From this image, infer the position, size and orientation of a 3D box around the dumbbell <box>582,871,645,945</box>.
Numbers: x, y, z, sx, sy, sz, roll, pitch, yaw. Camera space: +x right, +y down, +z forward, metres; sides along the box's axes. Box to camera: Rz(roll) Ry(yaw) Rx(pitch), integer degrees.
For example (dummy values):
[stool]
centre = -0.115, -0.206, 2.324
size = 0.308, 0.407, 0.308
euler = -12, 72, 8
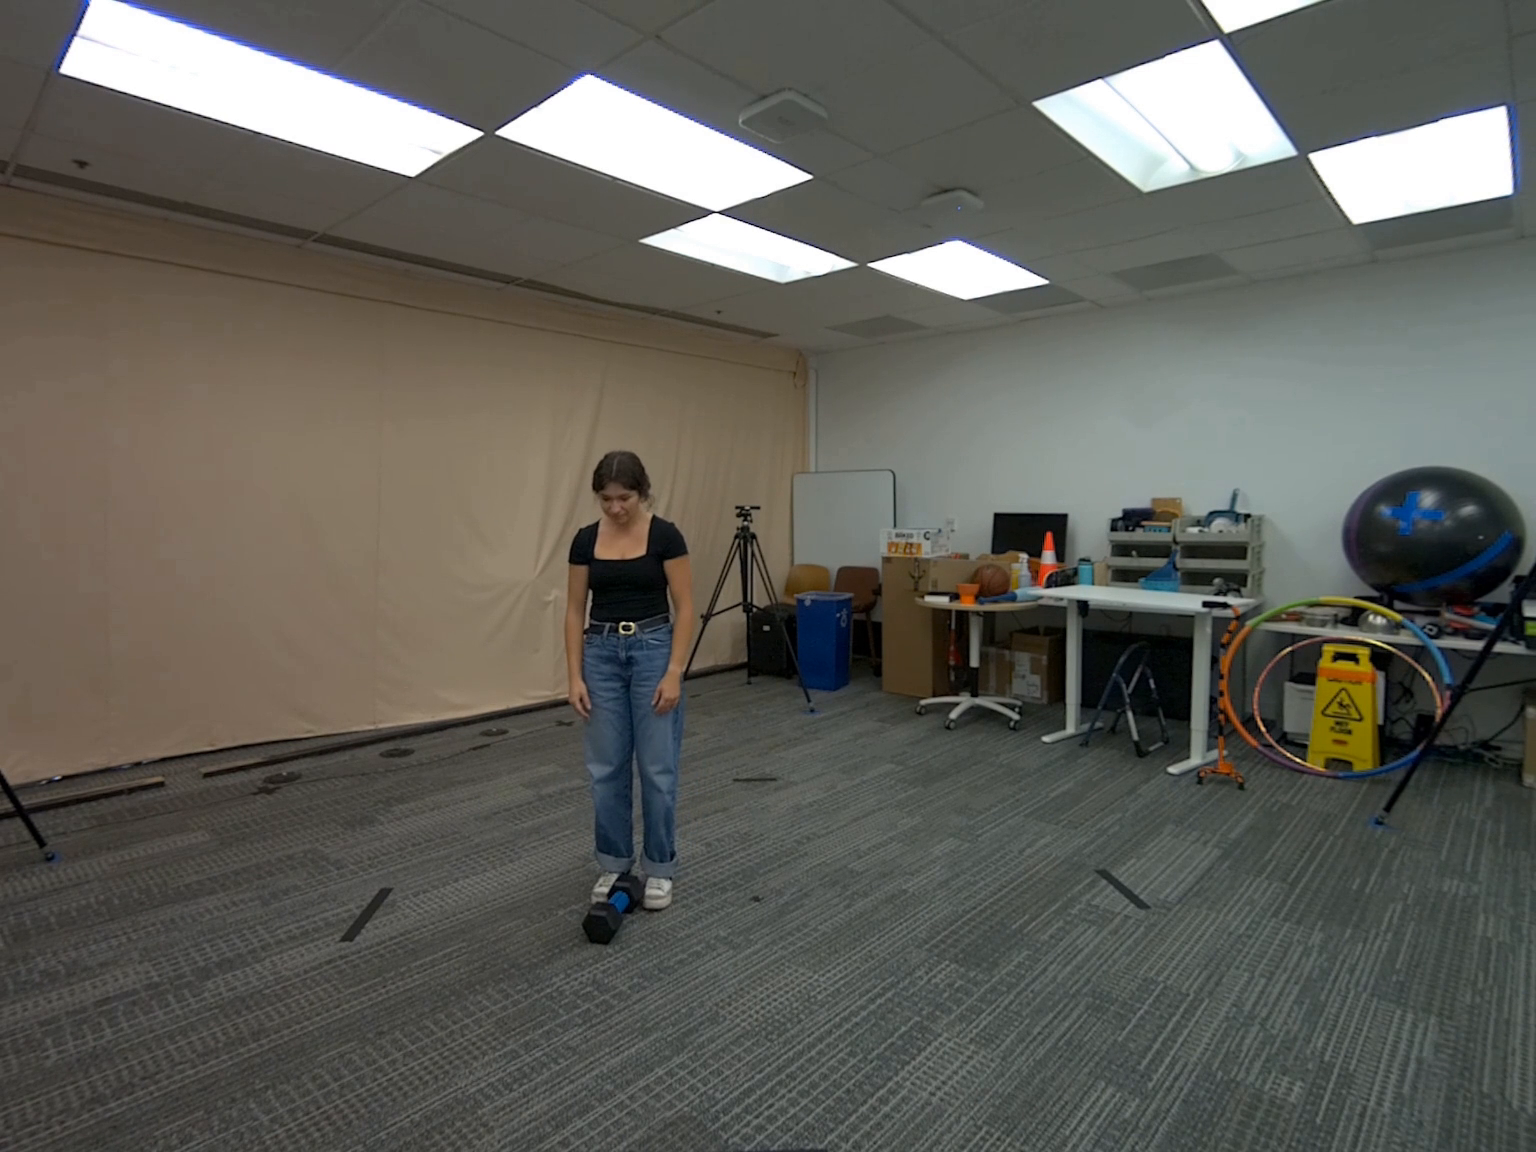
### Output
[dumbbell]
centre = -0.517, 1.113, 2.802
size = 0.109, 0.123, 0.290
euler = -29, -2, 12
